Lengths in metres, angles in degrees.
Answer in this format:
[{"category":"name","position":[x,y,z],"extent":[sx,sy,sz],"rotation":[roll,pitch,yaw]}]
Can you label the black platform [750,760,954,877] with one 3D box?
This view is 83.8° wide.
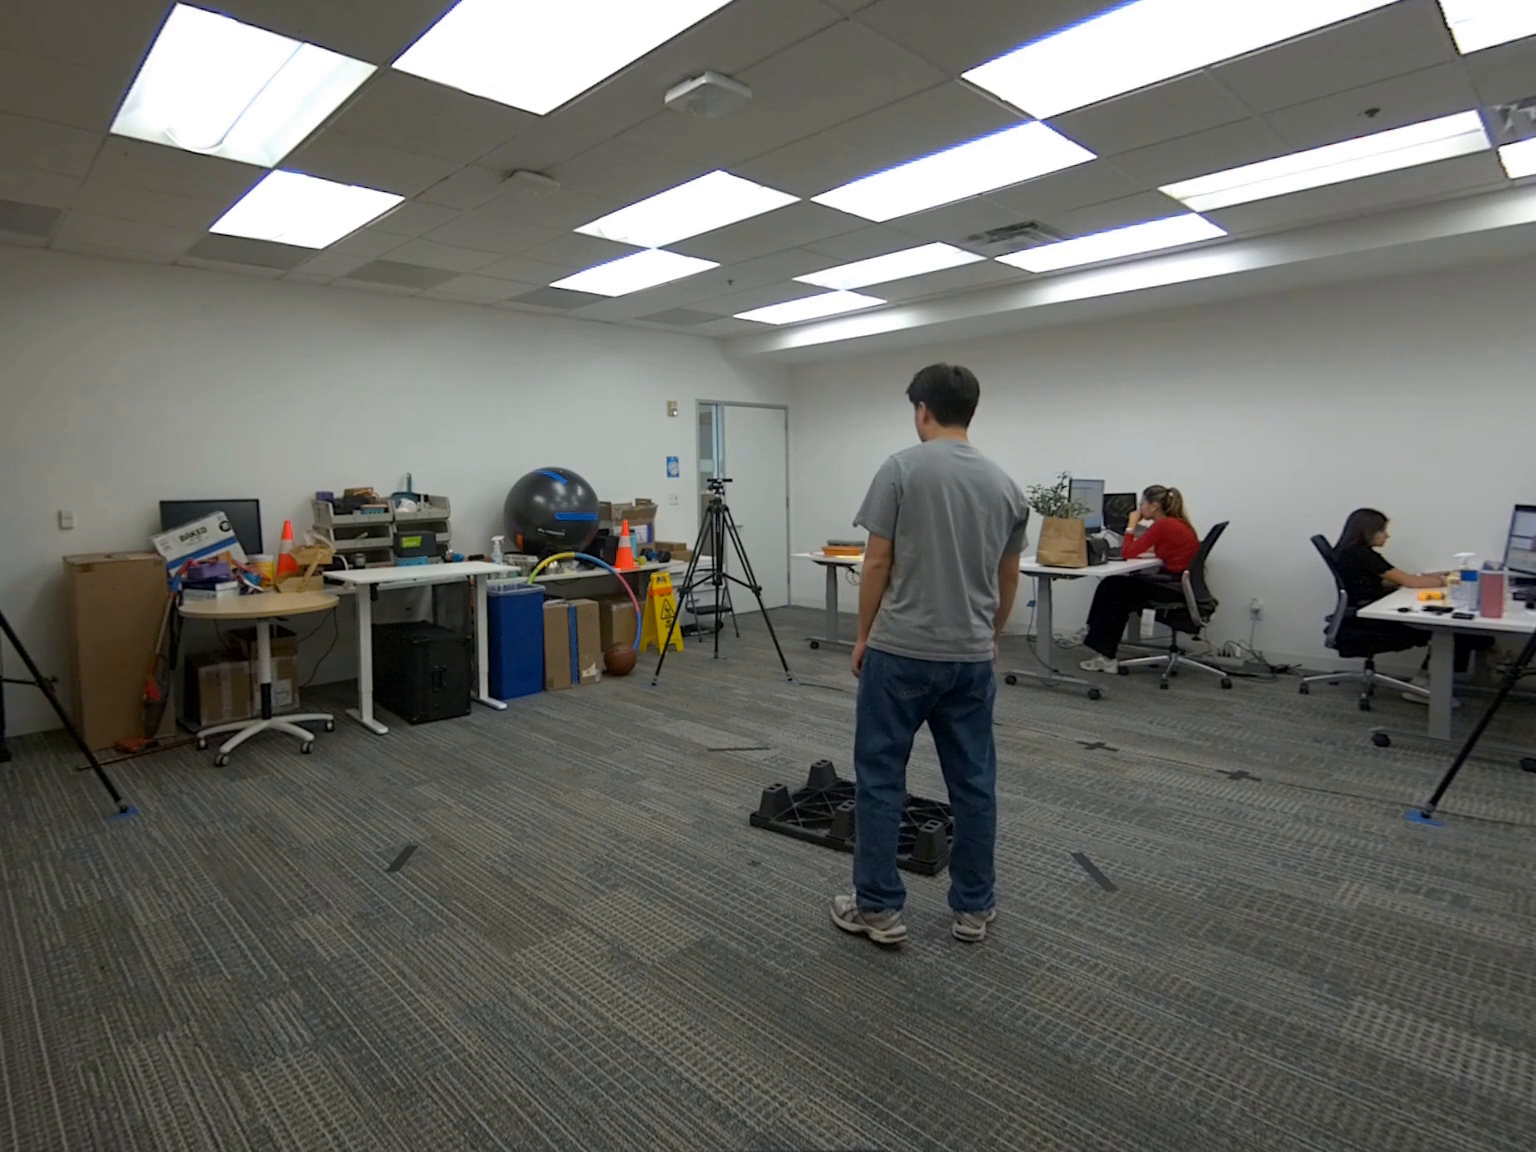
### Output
[{"category":"black platform","position":[0.421,0.933,3.442],"extent":[0.829,0.142,0.590],"rotation":[4,8,36]}]
